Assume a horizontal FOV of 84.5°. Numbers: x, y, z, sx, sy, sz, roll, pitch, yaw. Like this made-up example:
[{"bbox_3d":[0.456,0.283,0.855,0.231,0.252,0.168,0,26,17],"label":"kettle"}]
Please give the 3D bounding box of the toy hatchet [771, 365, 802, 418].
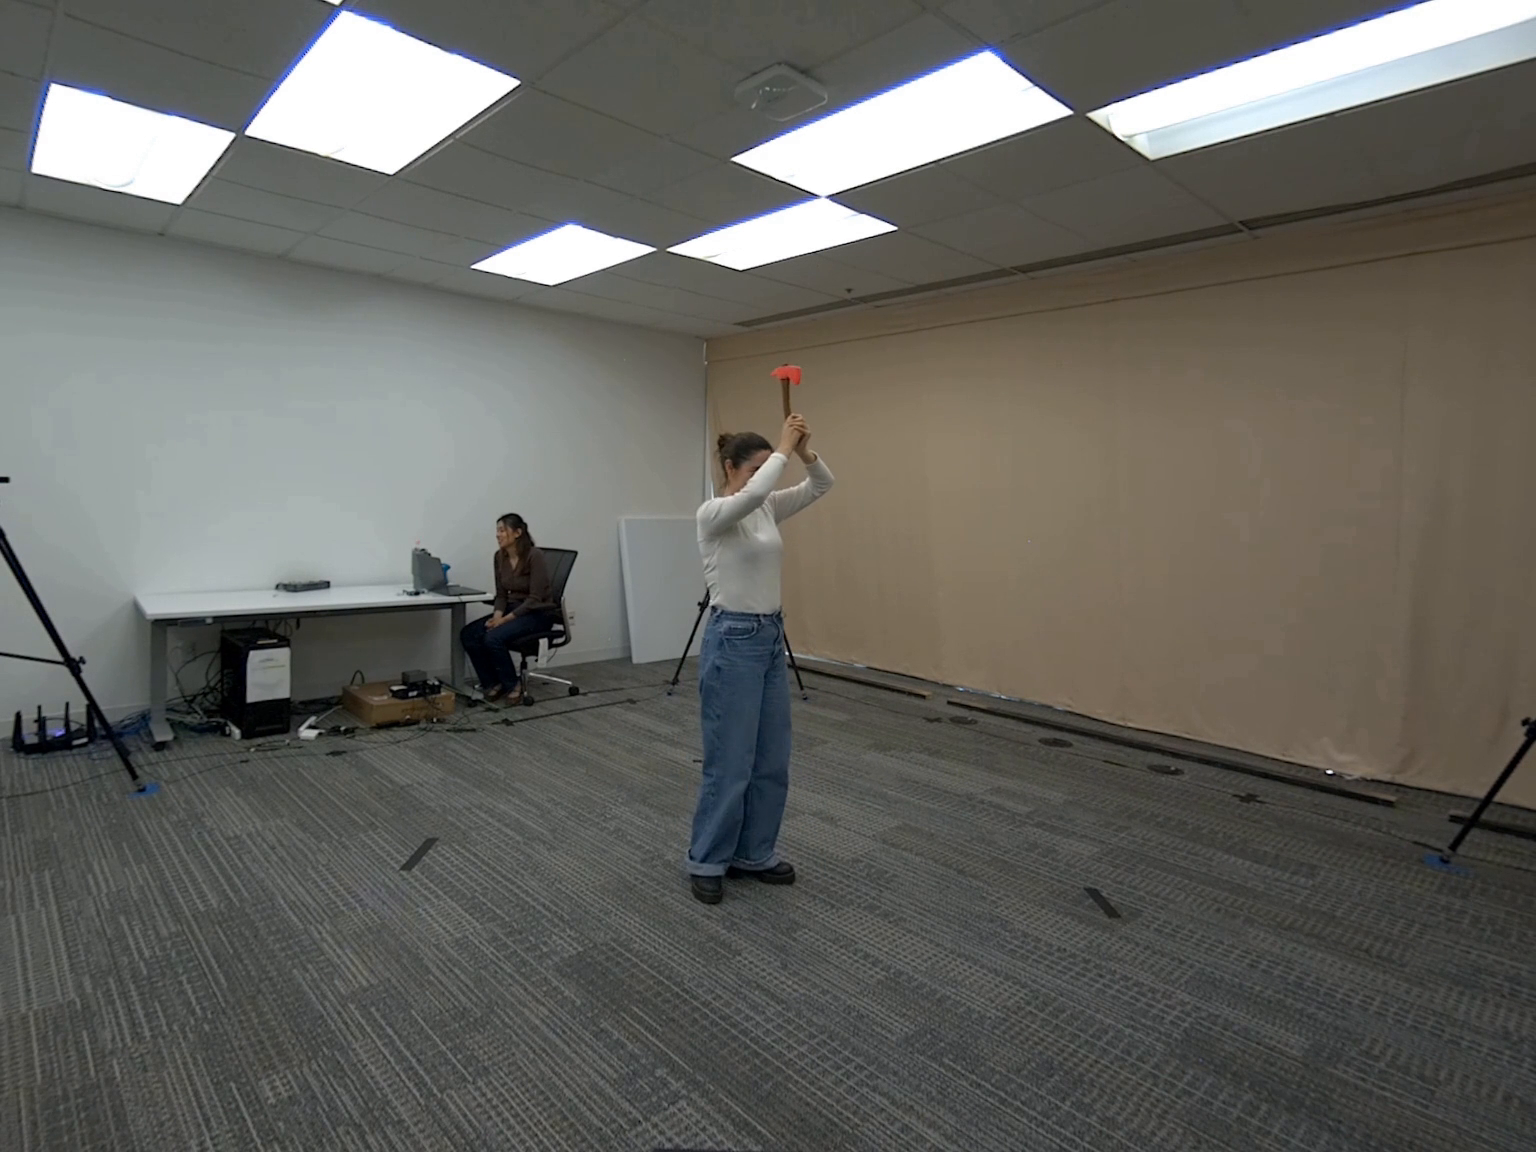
[{"bbox_3d":[0.084,-0.595,2.851,0.132,0.272,0.029,-25,-12,38],"label":"toy hatchet"}]
